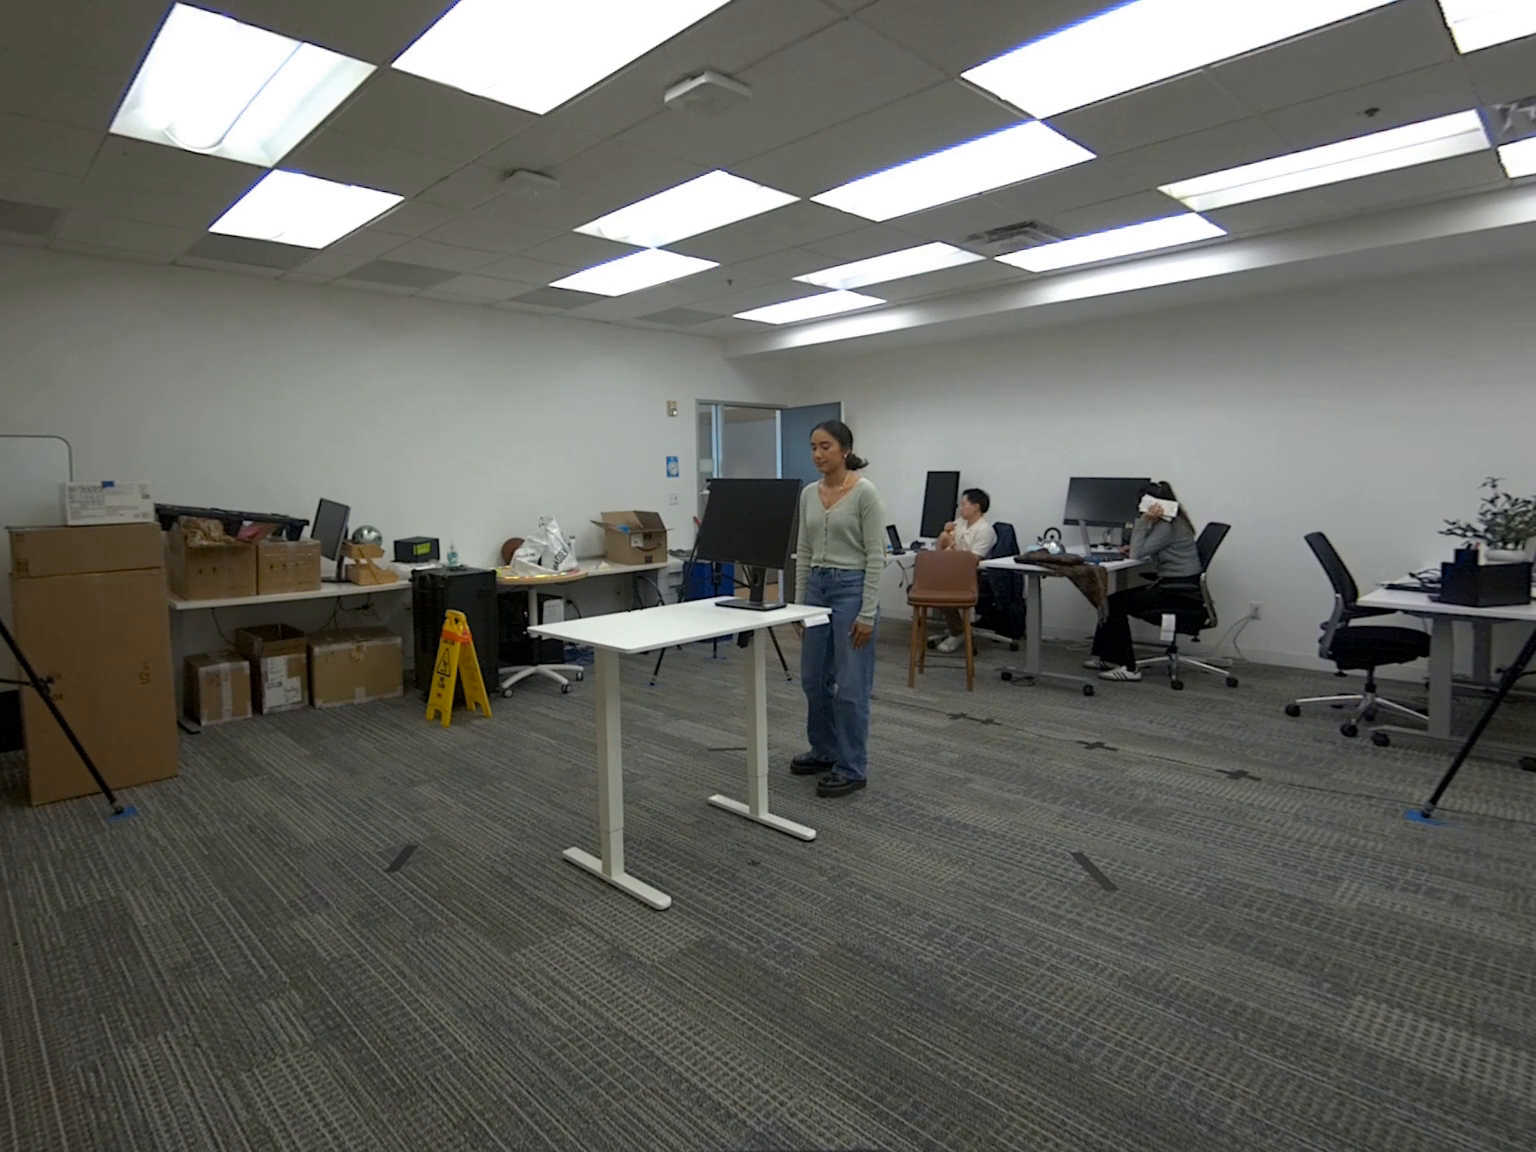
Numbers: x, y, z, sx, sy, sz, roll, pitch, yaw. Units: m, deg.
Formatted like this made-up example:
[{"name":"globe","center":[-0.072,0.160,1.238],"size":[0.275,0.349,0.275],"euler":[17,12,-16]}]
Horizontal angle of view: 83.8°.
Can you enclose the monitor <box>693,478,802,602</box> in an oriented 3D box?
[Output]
[{"name":"monitor","center":[-0.064,-0.130,3.445],"size":[0.182,0.521,0.556],"euler":[-3,6,-44]}]
